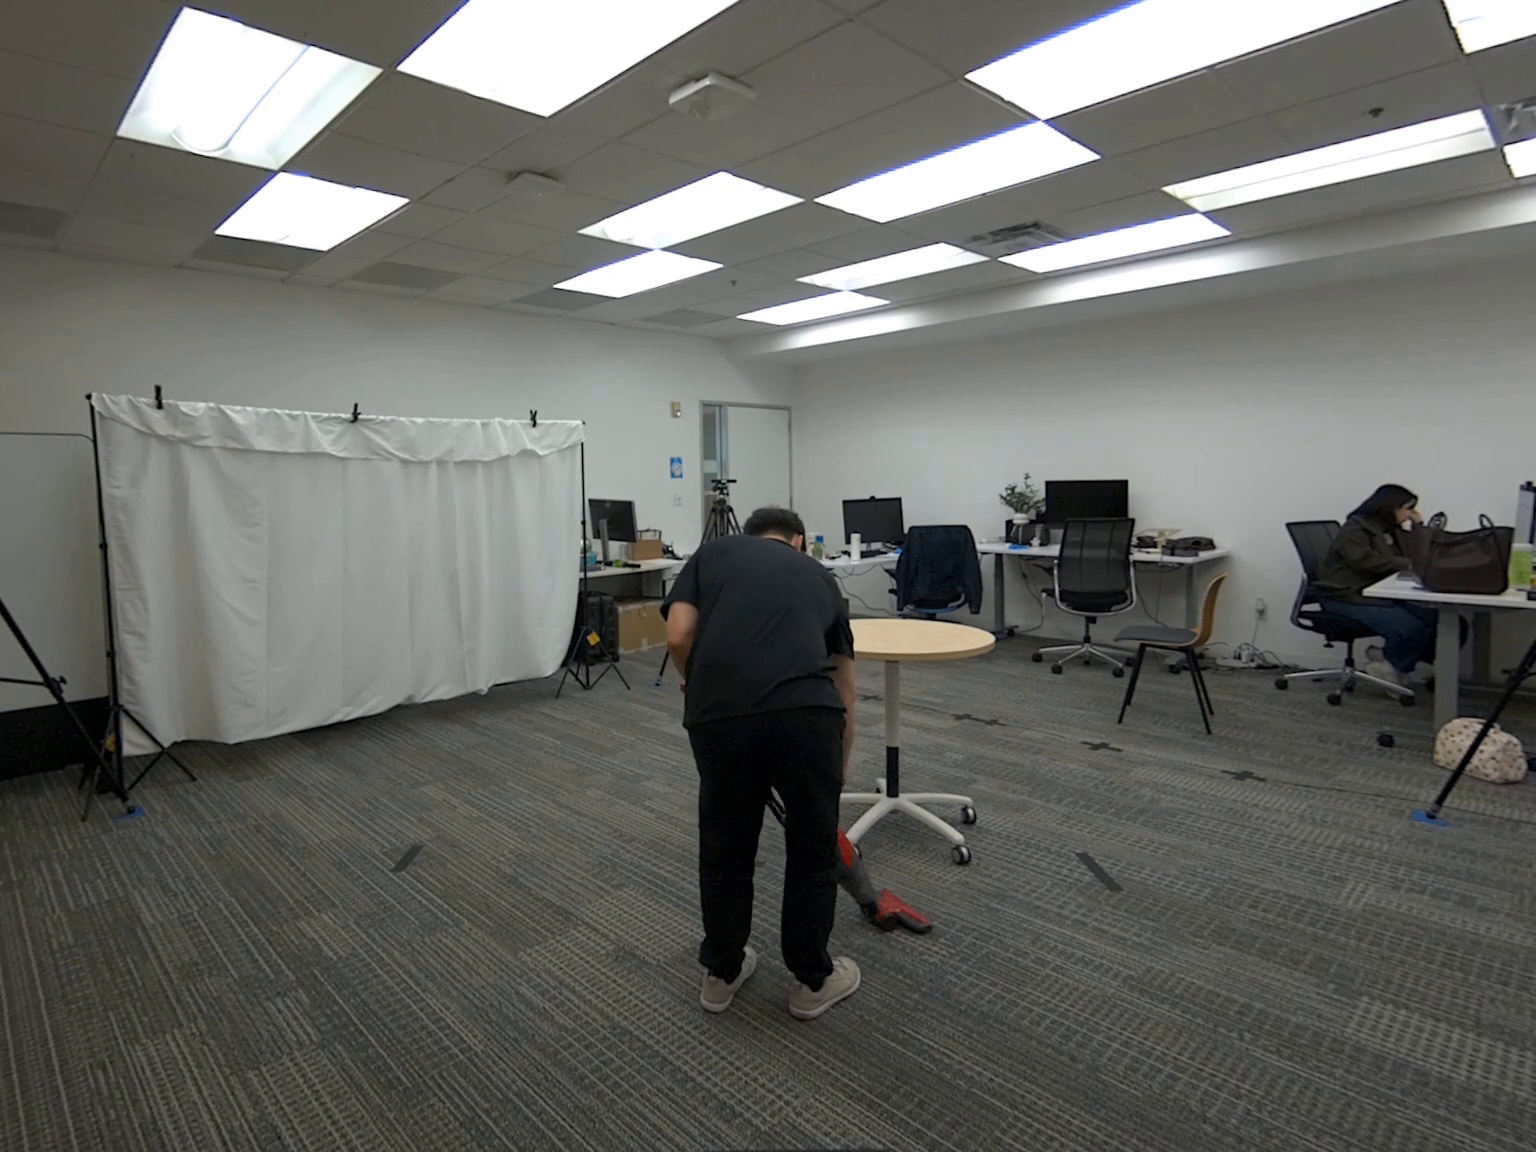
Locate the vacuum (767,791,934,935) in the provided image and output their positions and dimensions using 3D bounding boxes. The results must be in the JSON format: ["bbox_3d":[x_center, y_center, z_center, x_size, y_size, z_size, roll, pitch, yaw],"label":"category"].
[{"bbox_3d":[0.097,0.702,2.565,0.144,1.028,0.258,-45,17,-19],"label":"vacuum"}]
